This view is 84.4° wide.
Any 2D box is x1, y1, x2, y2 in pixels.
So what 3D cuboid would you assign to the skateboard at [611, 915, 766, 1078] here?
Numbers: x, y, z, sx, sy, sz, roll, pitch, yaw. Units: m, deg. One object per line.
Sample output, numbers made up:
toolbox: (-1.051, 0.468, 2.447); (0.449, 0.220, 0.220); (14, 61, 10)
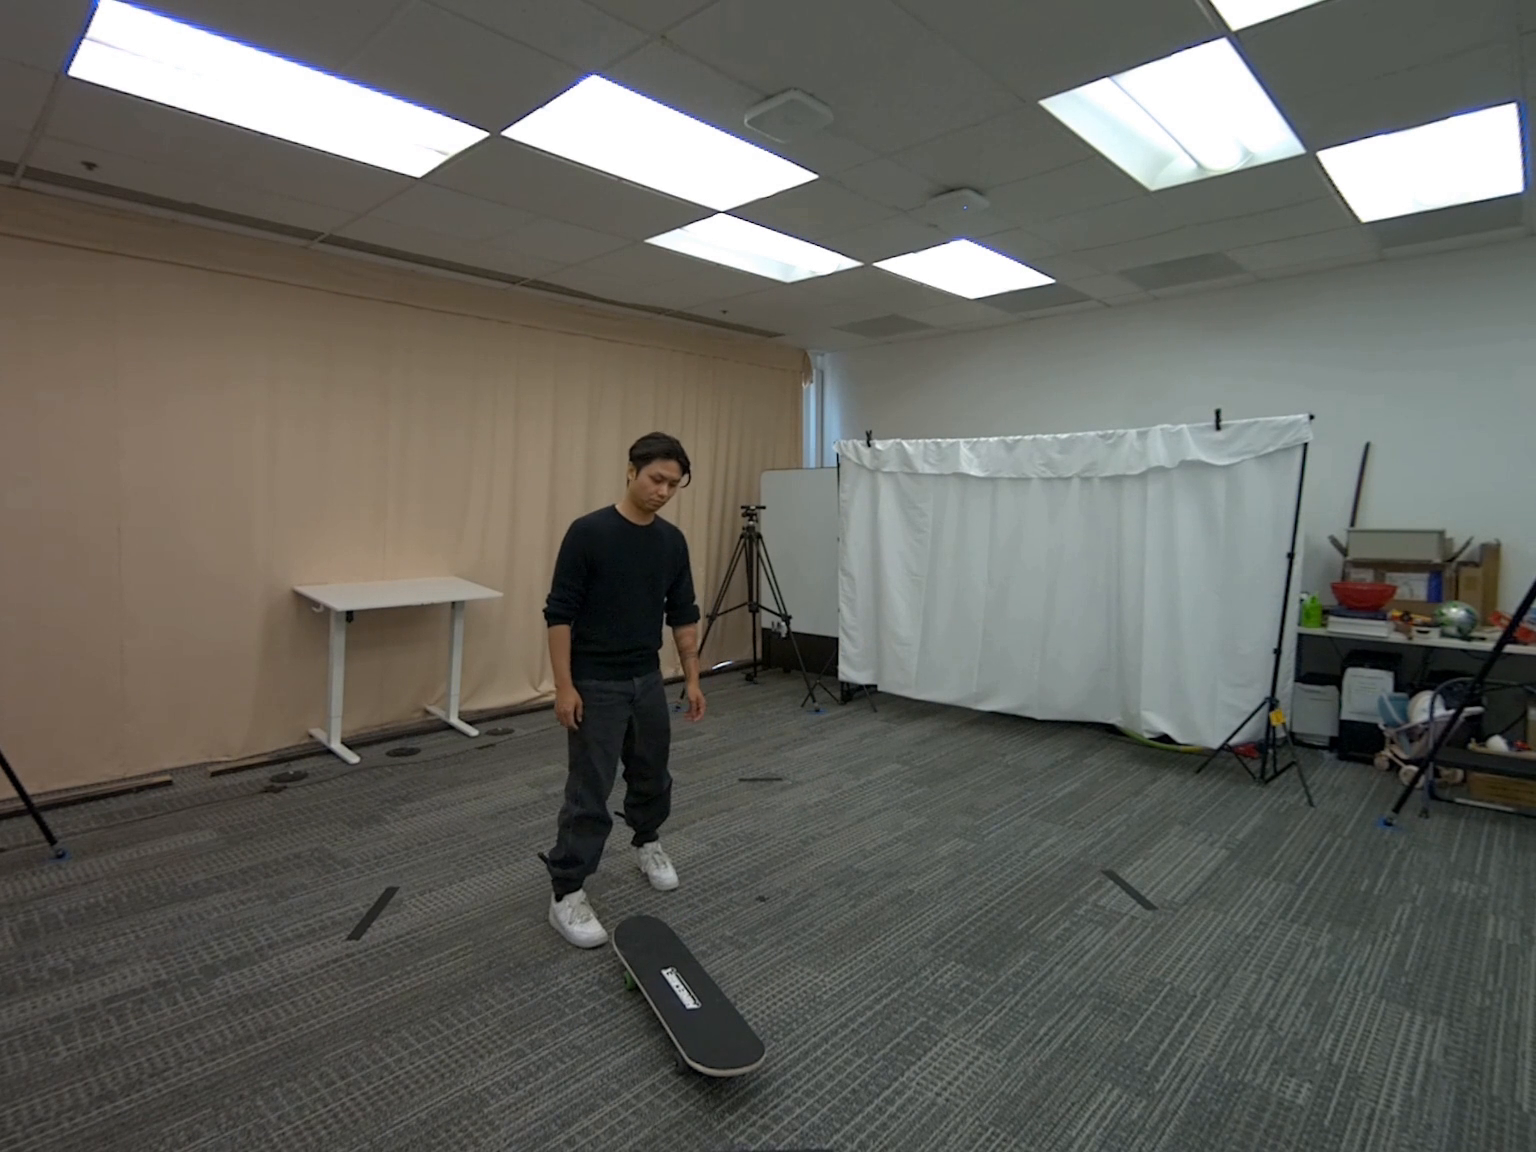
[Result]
skateboard: (-0.235, 1.147, 2.284); (0.189, 0.110, 0.807); (-2, 5, -27)
